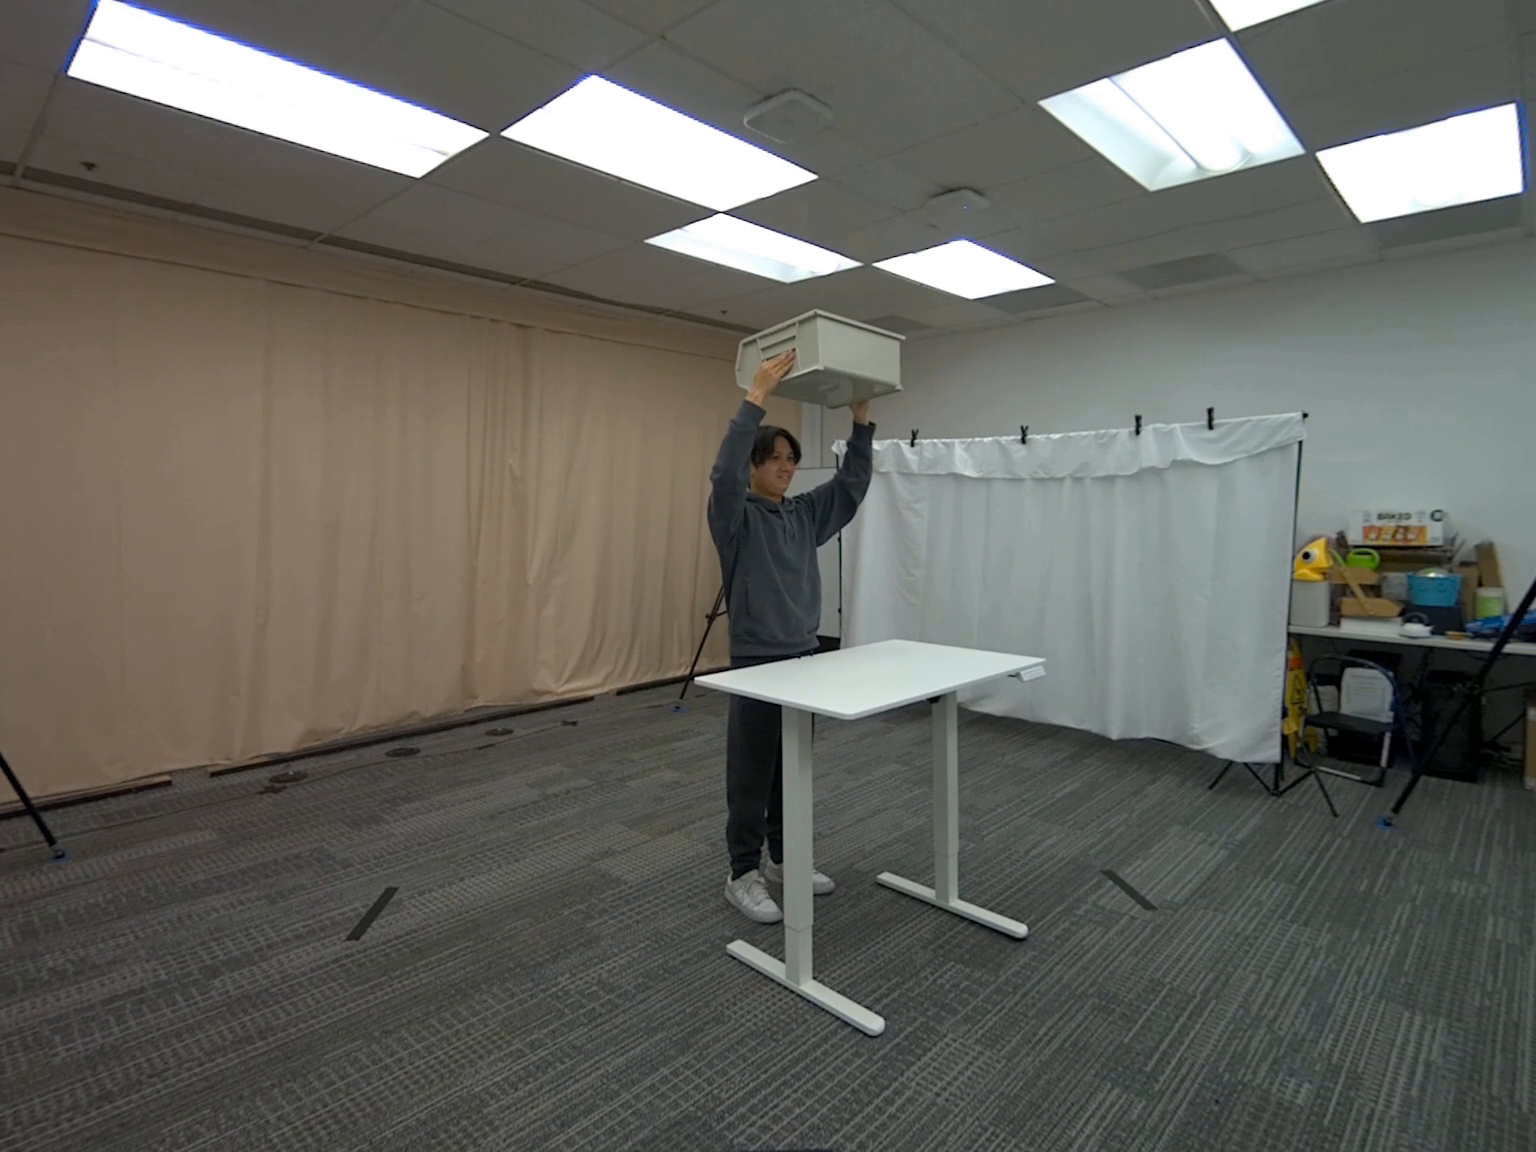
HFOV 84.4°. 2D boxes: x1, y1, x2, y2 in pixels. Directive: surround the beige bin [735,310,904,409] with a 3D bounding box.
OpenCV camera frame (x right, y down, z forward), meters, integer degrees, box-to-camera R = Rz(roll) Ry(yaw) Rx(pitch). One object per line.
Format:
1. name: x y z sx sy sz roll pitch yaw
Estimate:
1. beige bin: 0.176 -0.689 2.771 0.409 0.189 0.389 2 -4 -42
